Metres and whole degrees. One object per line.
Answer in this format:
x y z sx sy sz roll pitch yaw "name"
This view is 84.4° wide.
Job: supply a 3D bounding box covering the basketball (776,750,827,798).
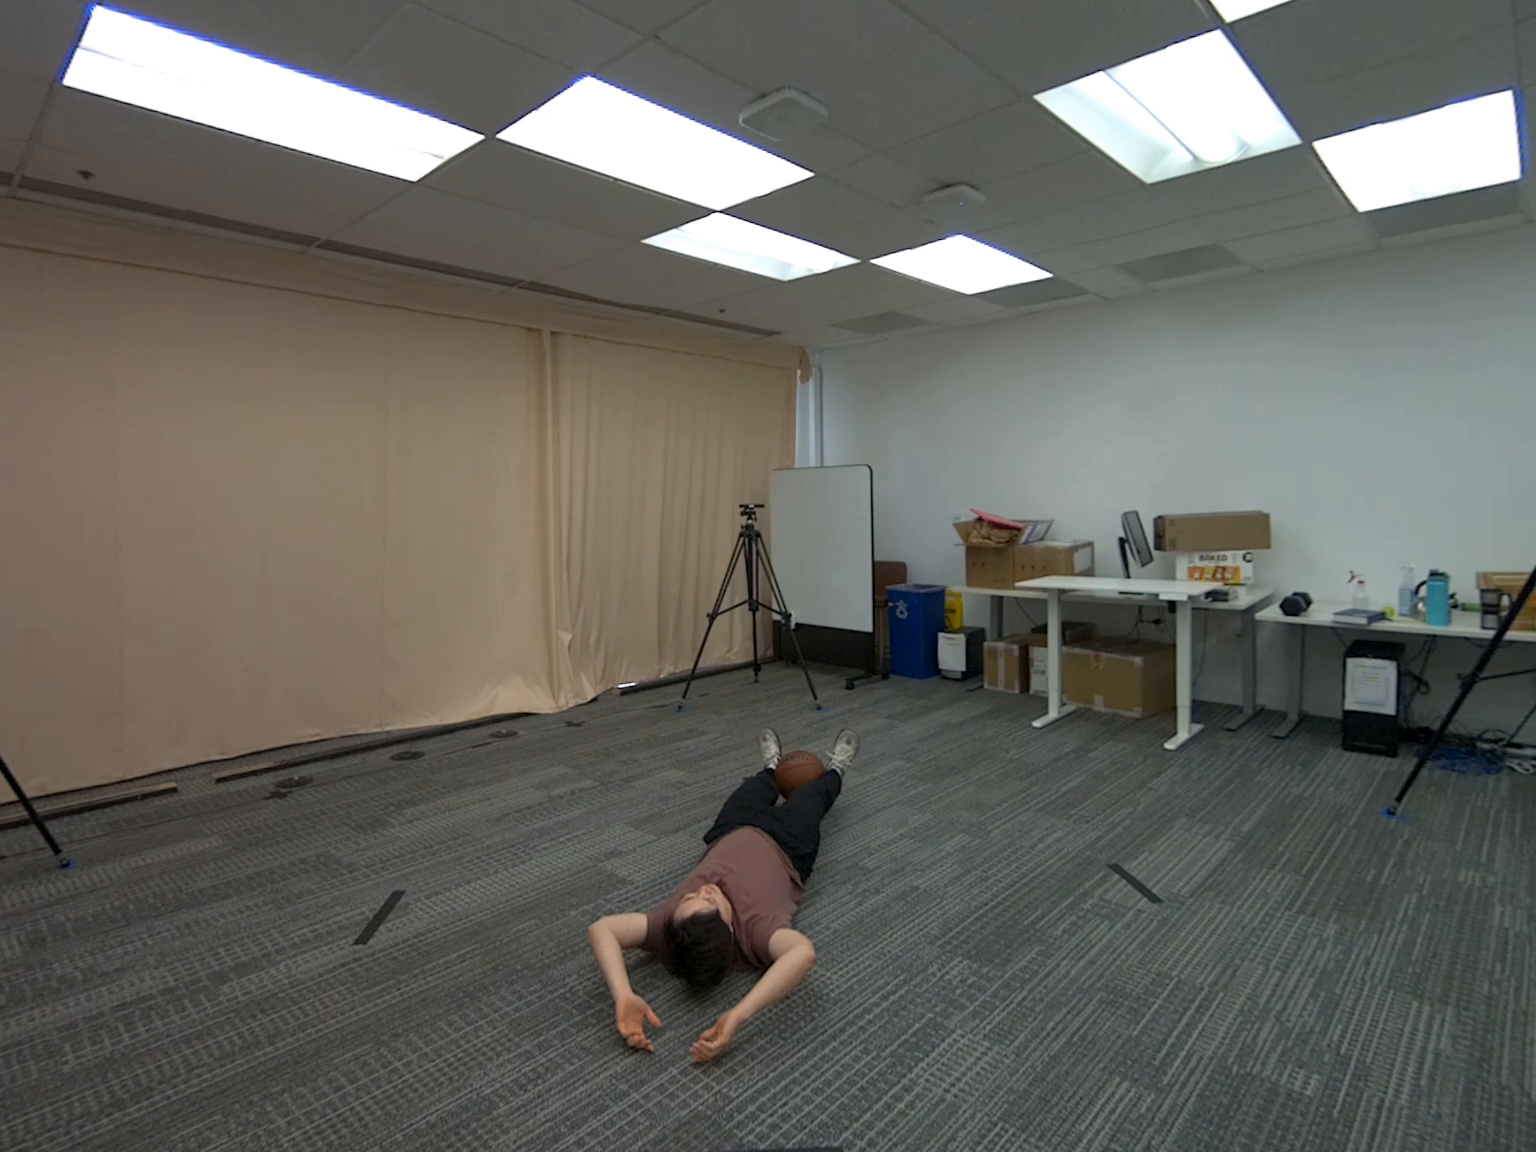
0.146 0.897 3.792 0.235 0.235 0.237 3 5 -2 "basketball"
